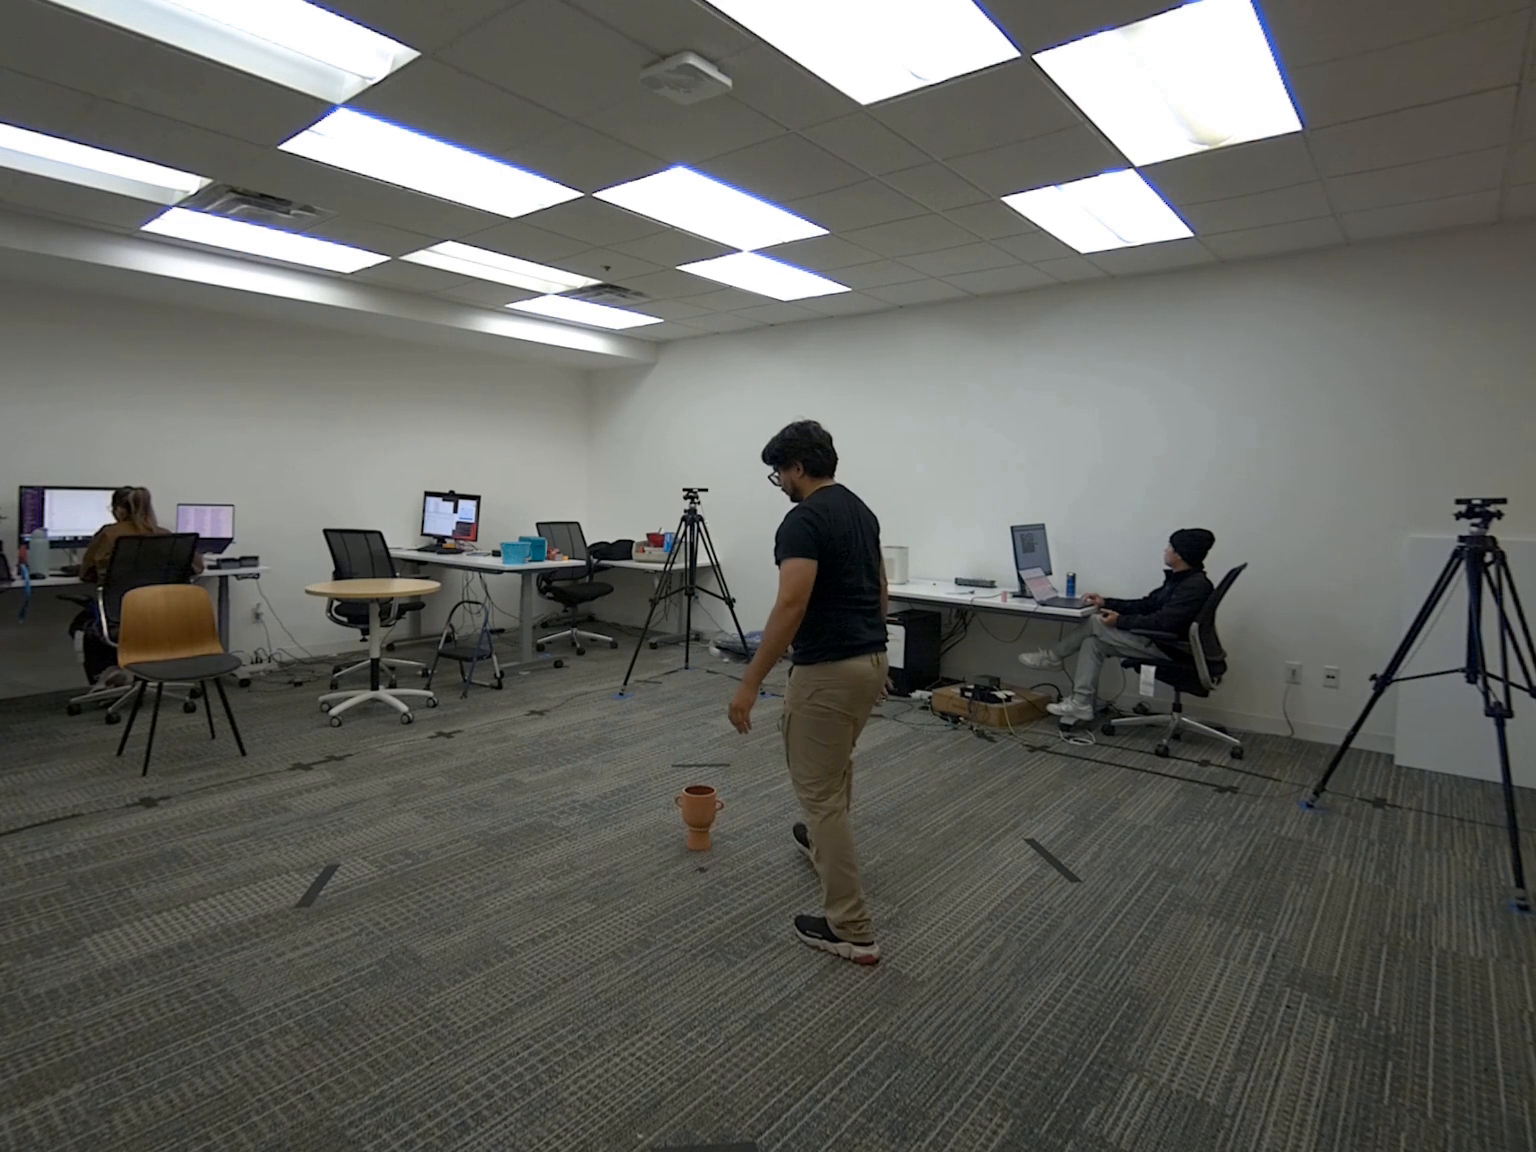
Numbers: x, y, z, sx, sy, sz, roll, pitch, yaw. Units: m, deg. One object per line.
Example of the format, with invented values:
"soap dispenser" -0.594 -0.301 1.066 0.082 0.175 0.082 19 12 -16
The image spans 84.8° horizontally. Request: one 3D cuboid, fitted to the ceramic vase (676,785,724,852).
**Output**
"ceramic vase" -0.278 0.936 3.313 0.130 0.219 0.164 -1 4 -39
